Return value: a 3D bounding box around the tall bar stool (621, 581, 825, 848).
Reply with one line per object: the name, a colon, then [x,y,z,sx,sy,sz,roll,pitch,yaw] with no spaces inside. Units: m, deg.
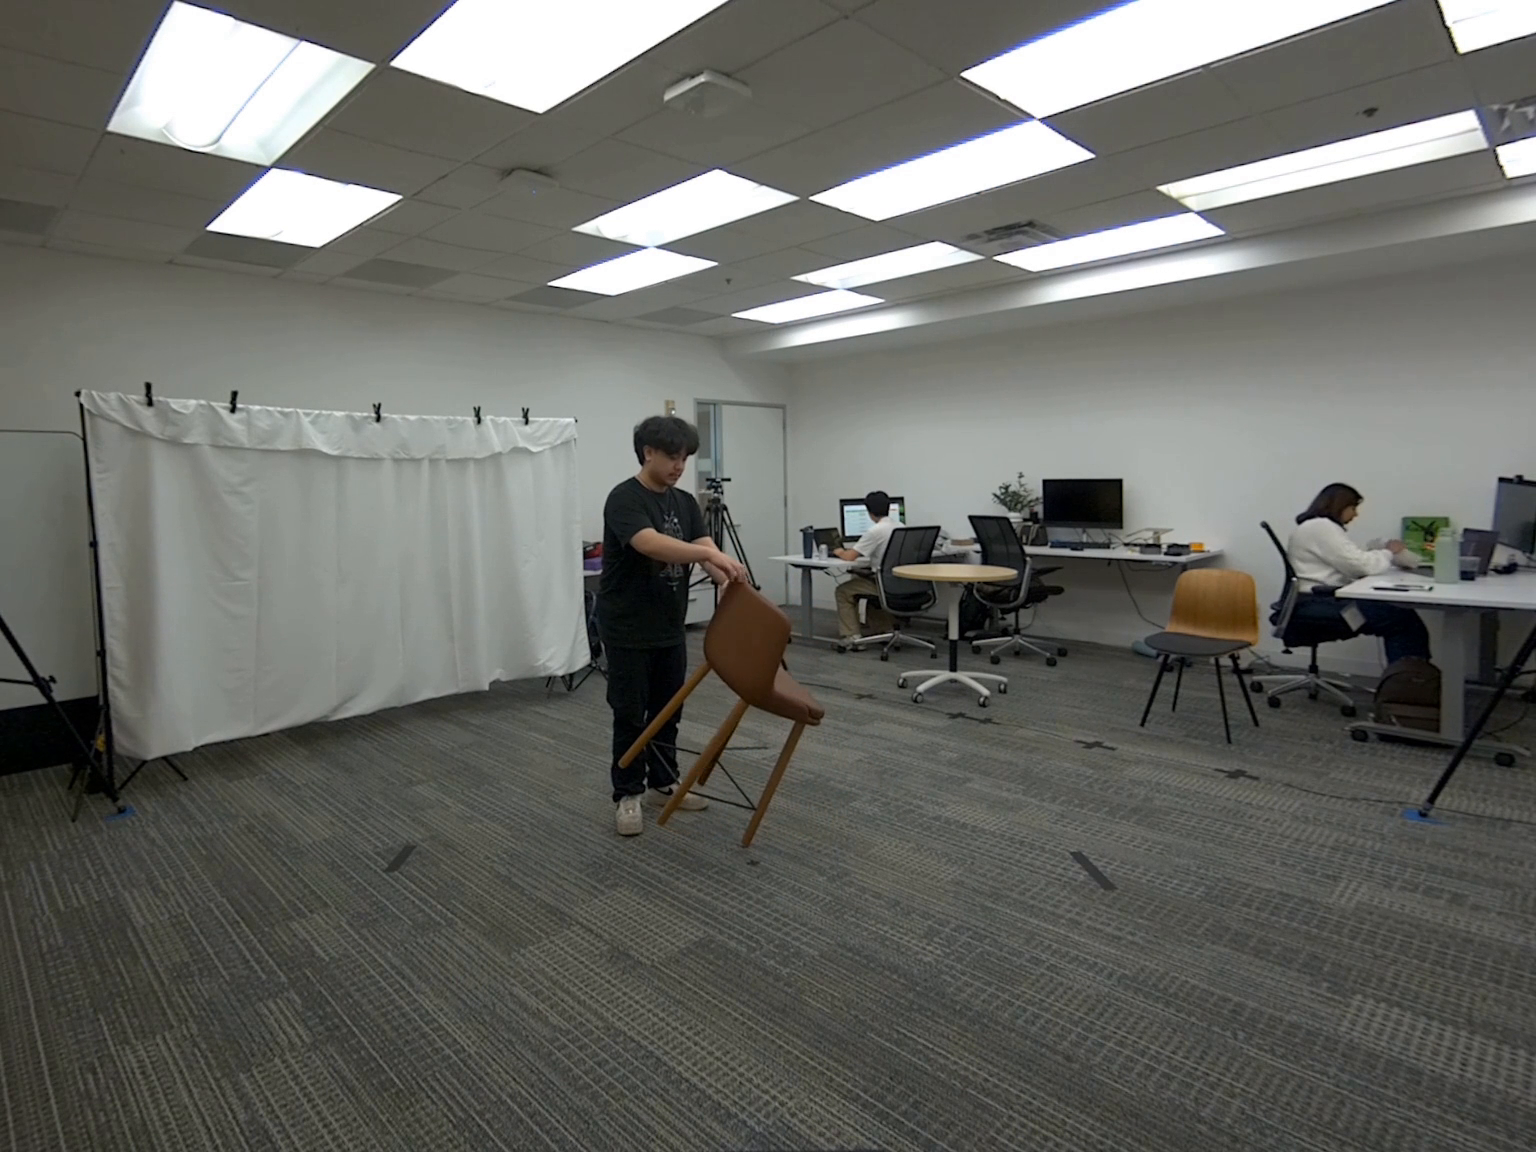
tall bar stool: [-0.108,0.504,3.226,0.451,0.888,0.474,25,7,-39]
